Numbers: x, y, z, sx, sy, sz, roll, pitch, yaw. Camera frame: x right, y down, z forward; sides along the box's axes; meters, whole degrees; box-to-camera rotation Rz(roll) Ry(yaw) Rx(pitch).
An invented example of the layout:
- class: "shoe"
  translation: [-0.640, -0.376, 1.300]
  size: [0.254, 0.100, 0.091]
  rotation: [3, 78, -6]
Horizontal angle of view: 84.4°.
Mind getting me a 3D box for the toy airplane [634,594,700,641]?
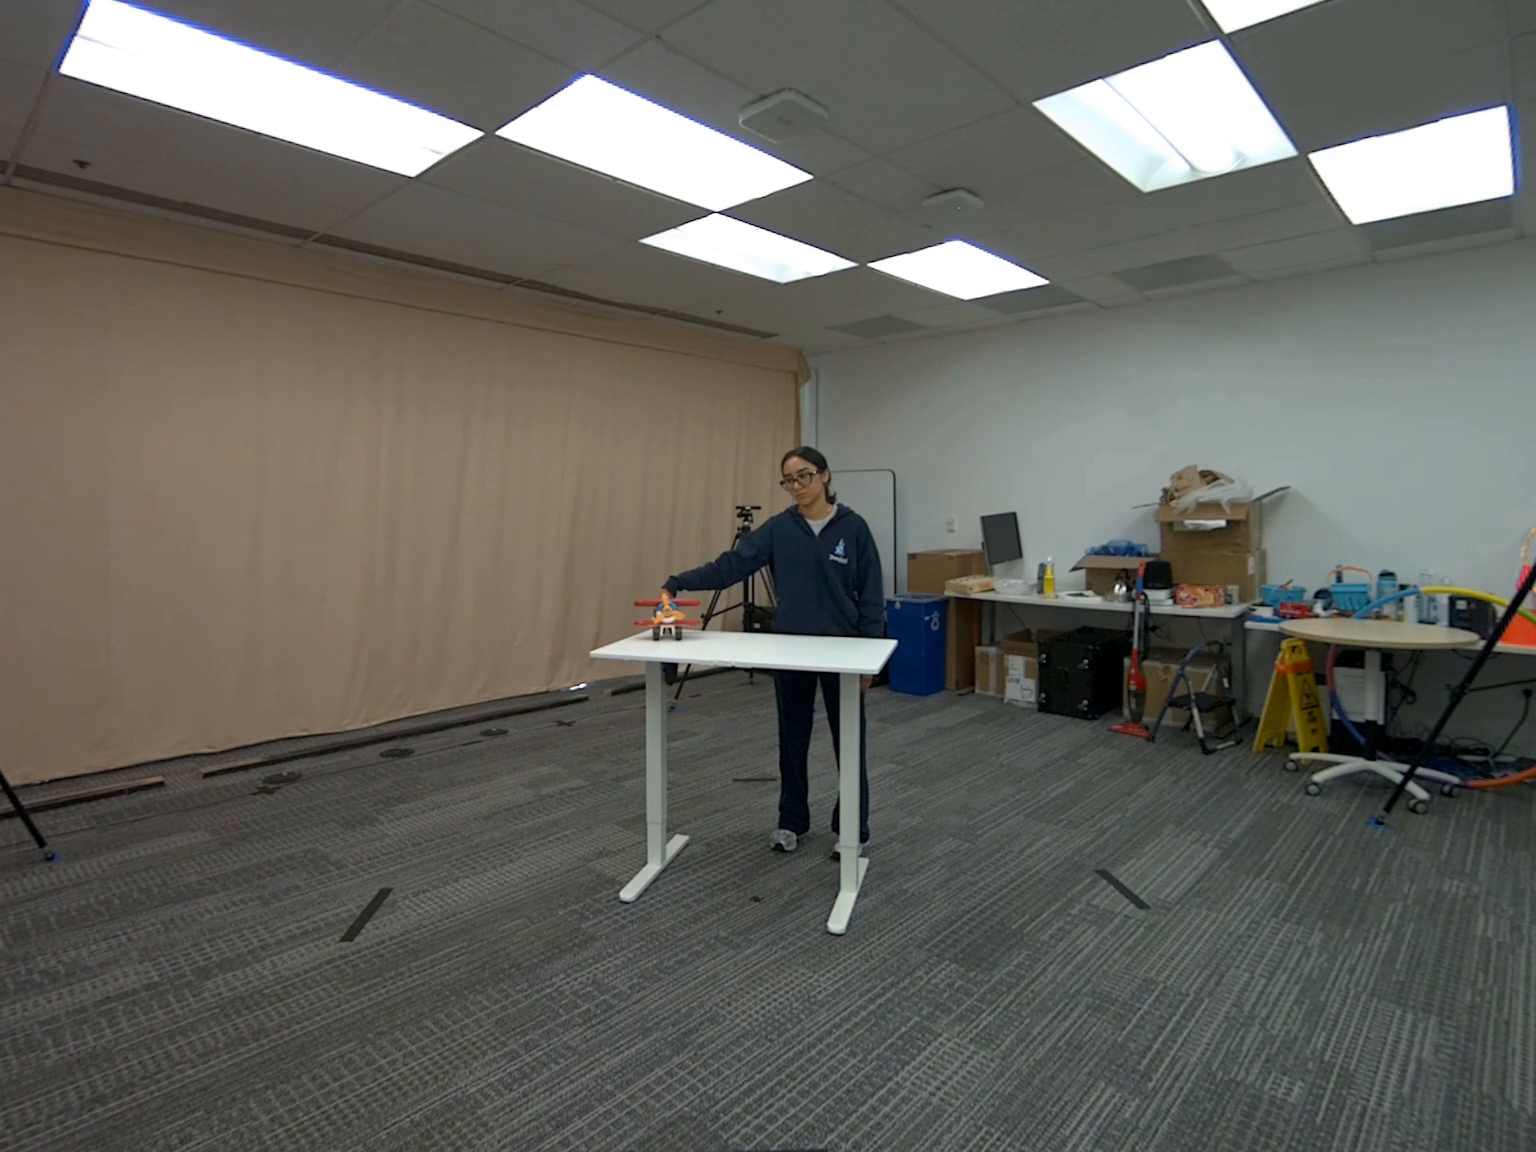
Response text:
- class: "toy airplane"
  translation: [-0.402, 0.164, 3.285]
  size: [0.244, 0.156, 0.267]
  rotation: [-3, 6, -33]
